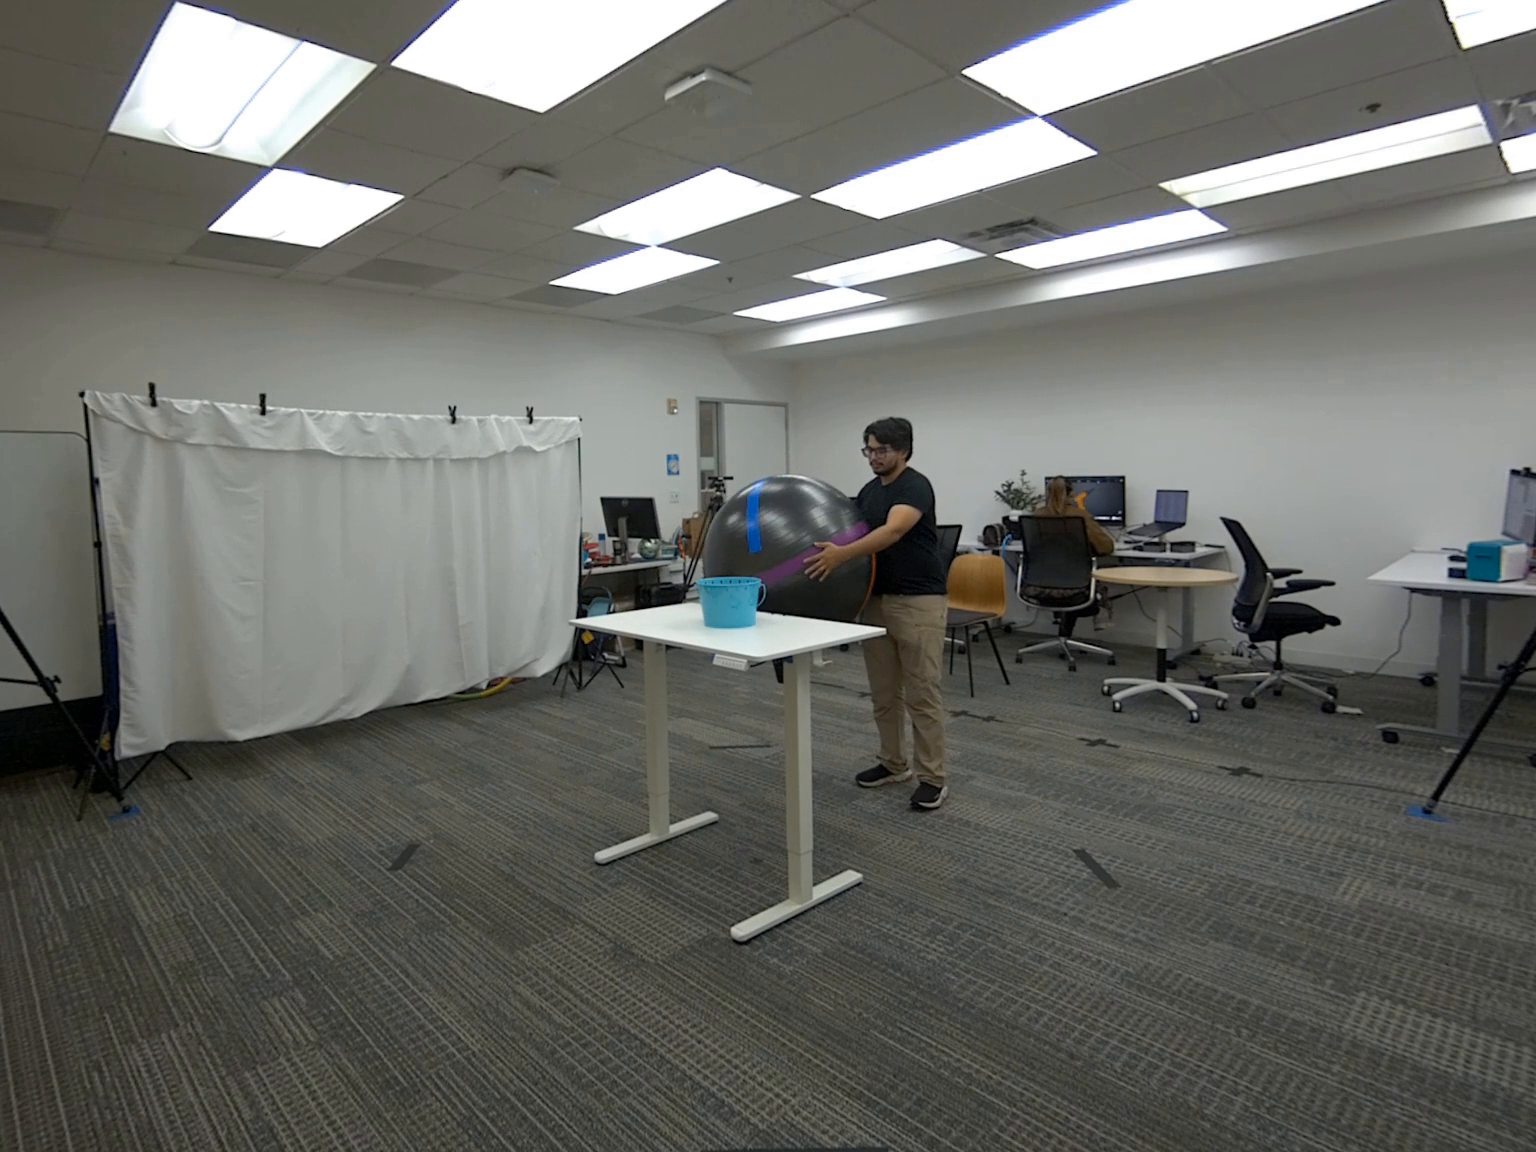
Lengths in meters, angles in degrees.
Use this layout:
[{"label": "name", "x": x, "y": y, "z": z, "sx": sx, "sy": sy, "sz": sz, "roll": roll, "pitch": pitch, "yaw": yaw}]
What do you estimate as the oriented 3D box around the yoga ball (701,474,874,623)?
[{"label": "yoga ball", "x": 0.086, "y": -0.059, "z": 3.757, "sx": 0.757, "sy": 0.755, "sz": 0.762, "roll": -1, "pitch": 5, "yaw": -2}]
